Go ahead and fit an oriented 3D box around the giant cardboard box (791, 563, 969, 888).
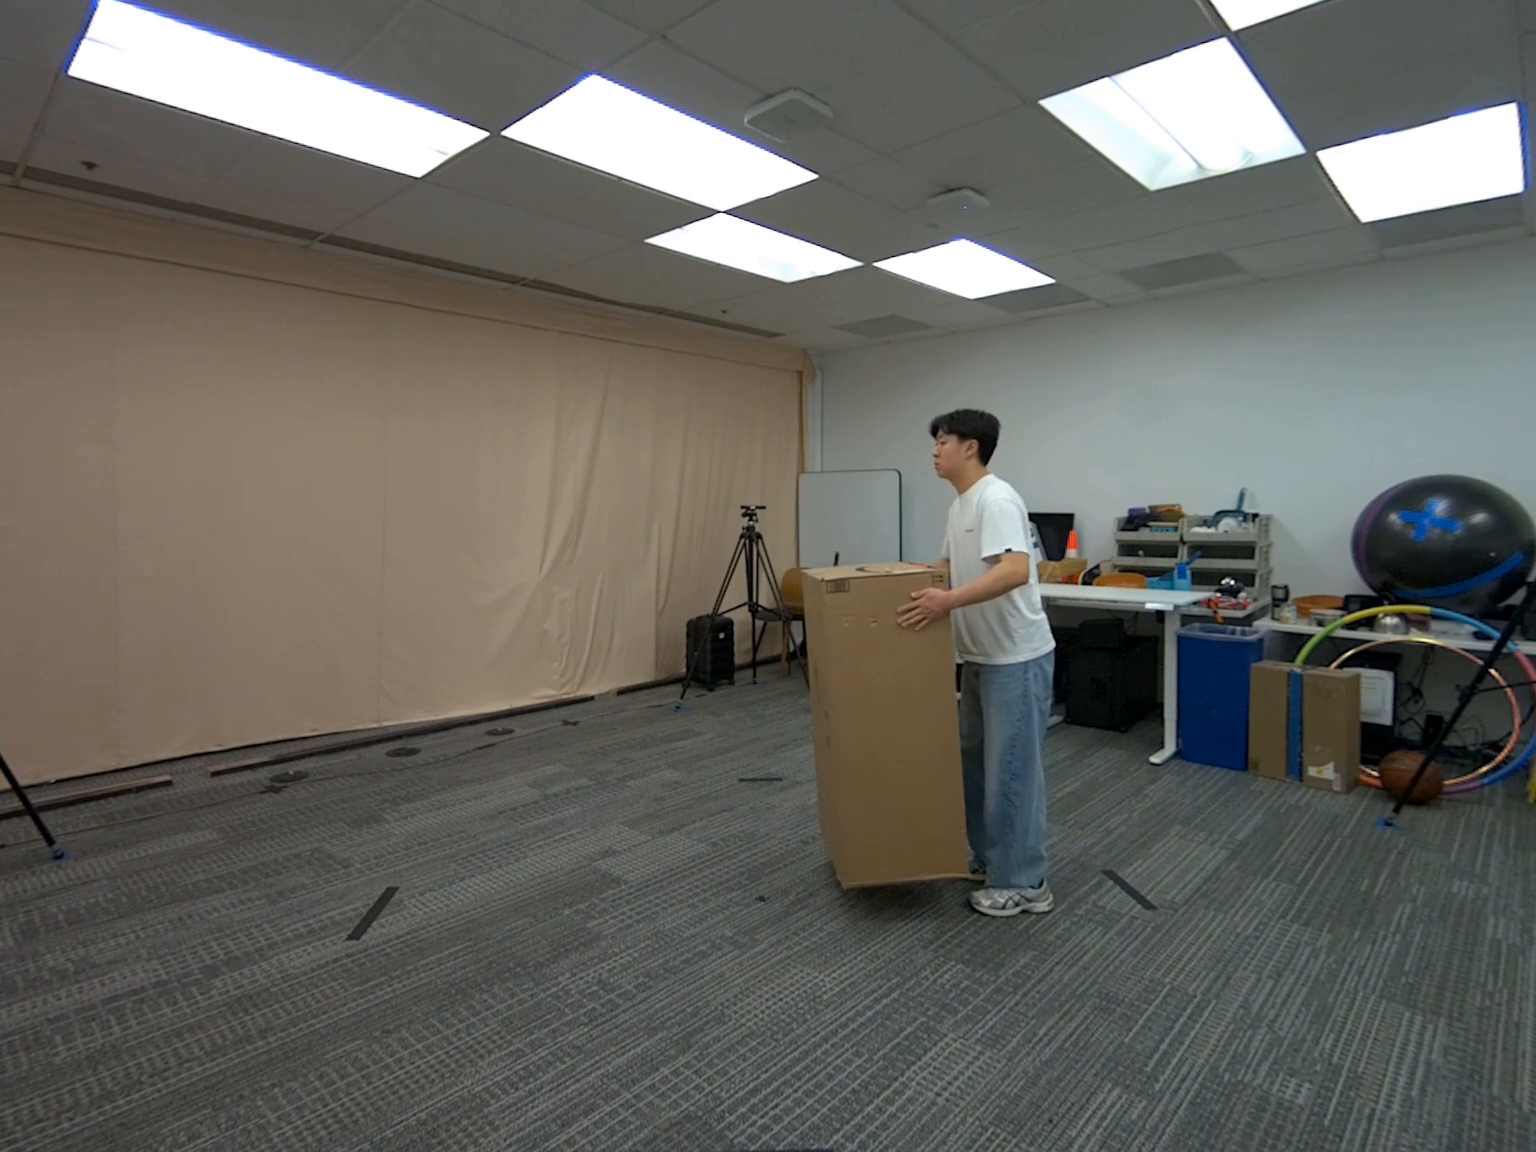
[{"bbox_3d":[0.394,0.503,3.037,0.425,1.024,0.579,-5,2,-3],"label":"giant cardboard box"}]
